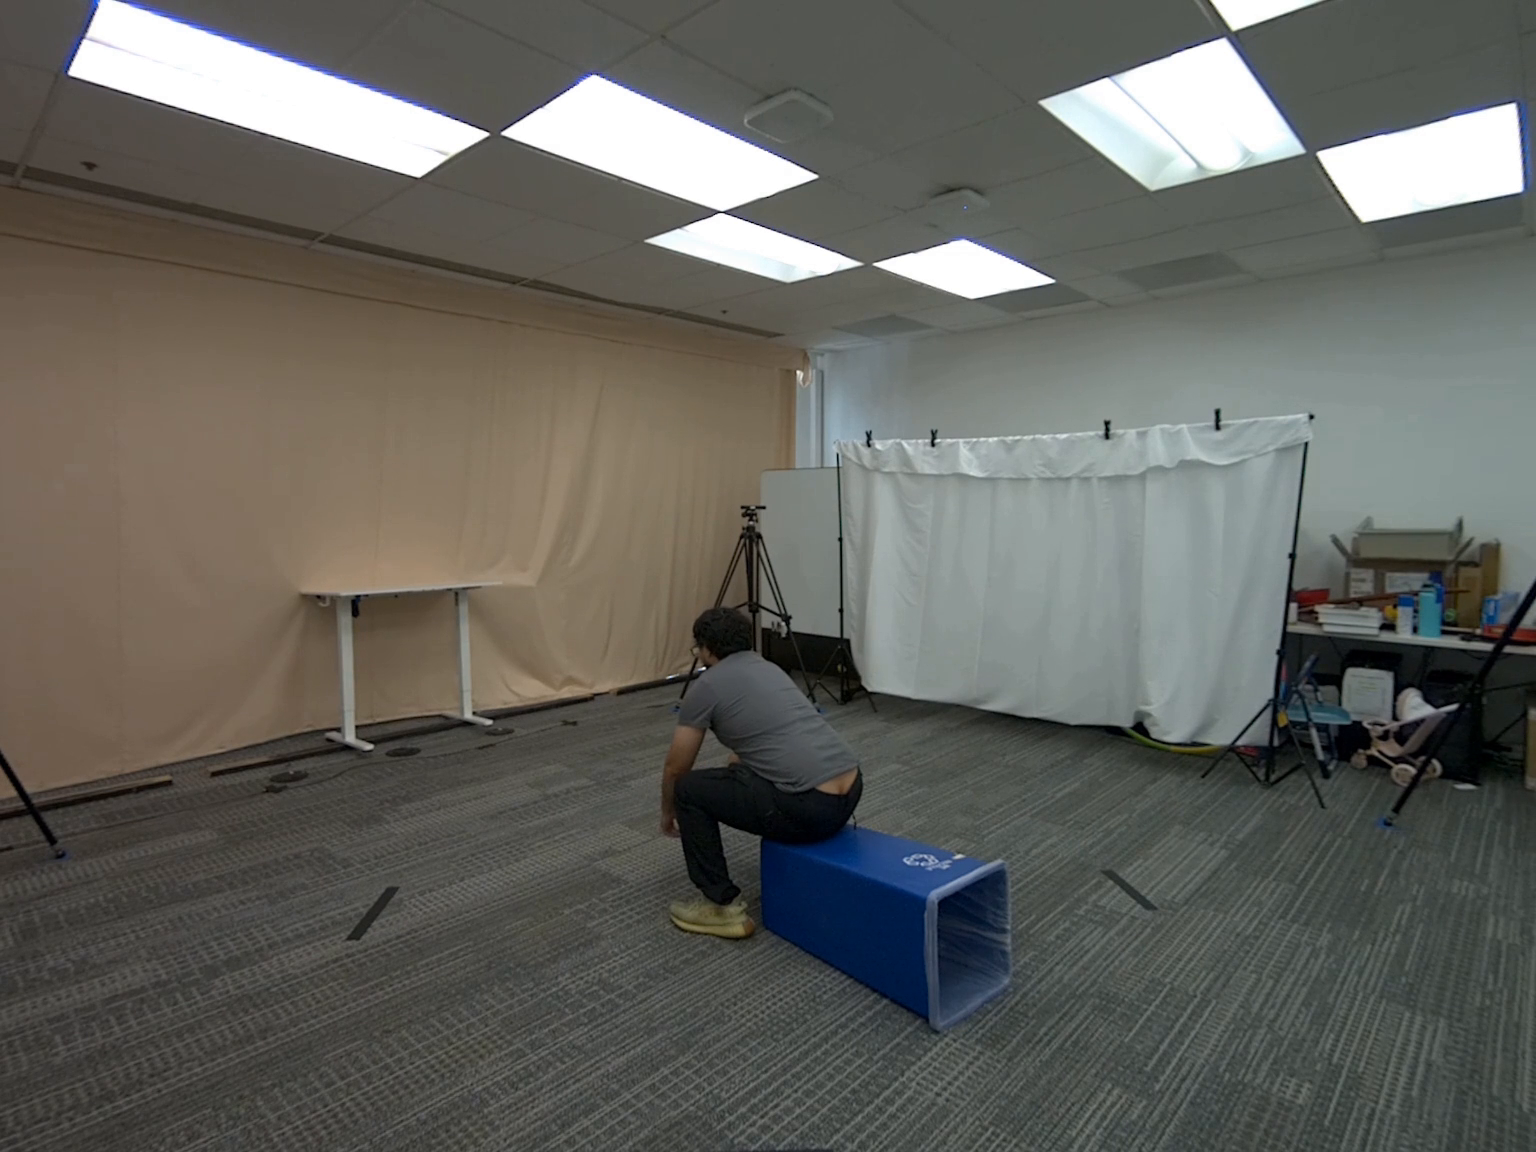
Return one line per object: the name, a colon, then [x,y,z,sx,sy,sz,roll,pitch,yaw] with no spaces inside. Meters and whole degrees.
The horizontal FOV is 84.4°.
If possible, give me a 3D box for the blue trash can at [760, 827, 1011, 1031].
blue trash can: [0.338,1.000,2.587,0.366,0.373,0.737,-4,4,-41]
